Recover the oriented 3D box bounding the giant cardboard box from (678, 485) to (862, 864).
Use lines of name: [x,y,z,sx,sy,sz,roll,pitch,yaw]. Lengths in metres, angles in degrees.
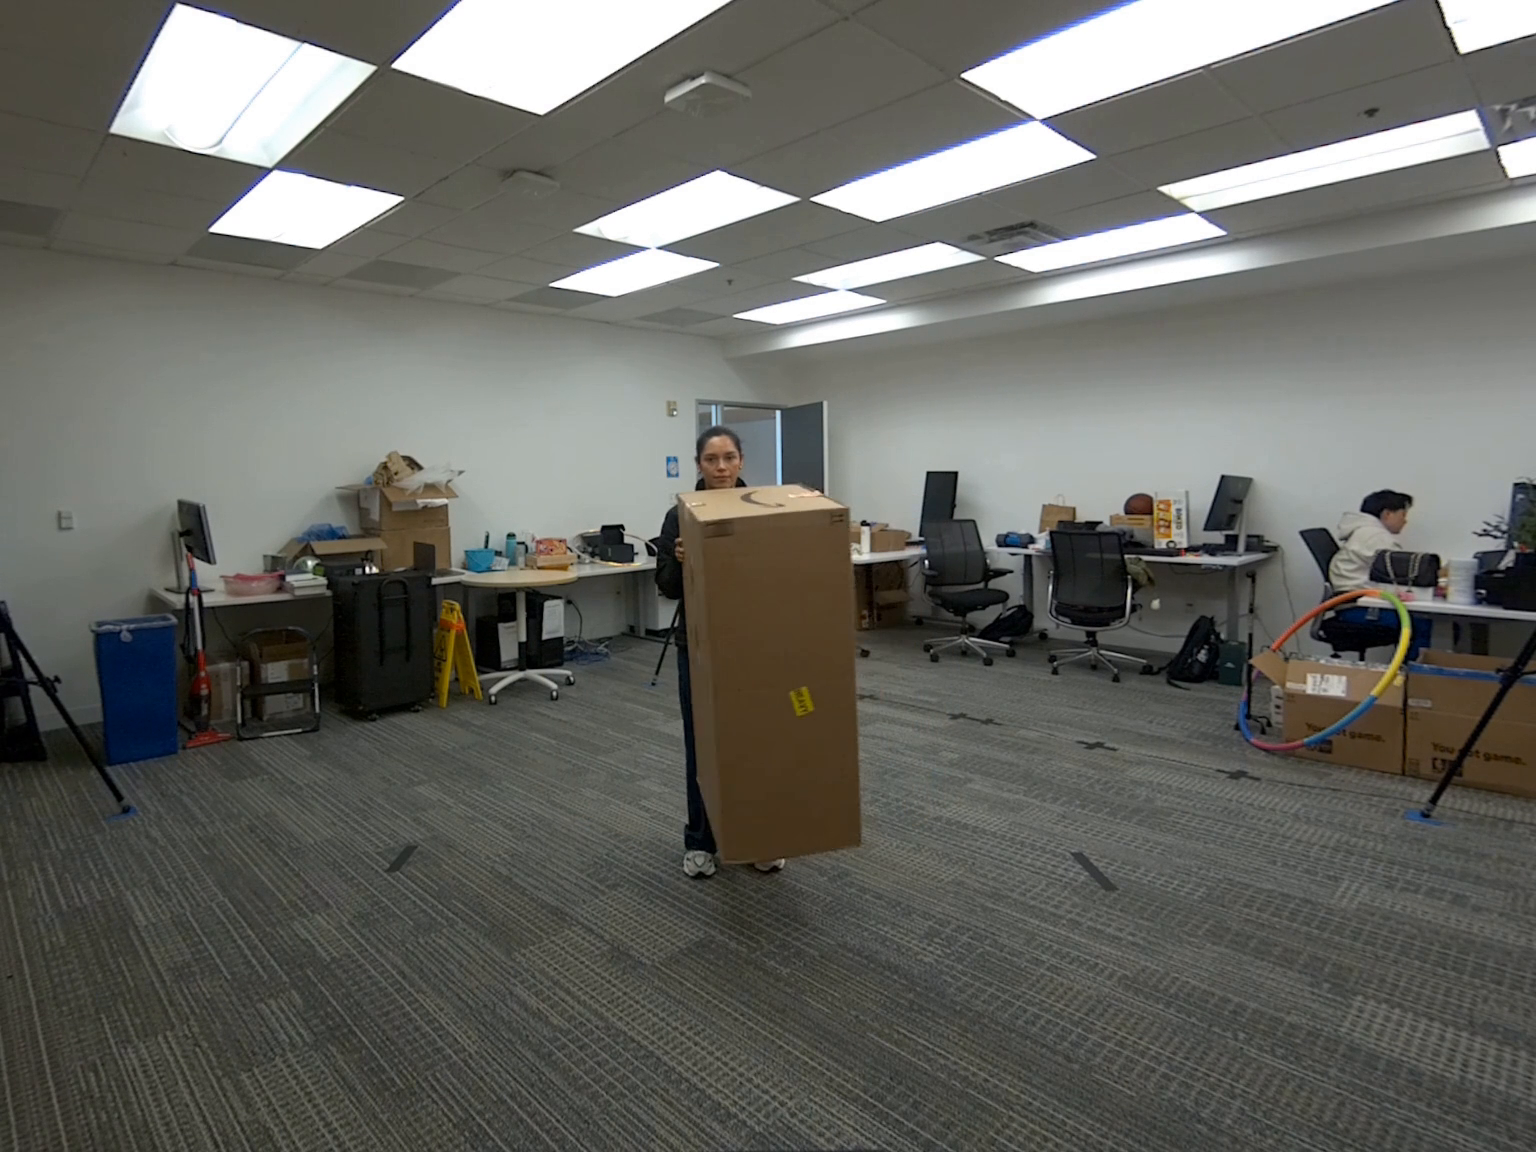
giant cardboard box: [-0.011,0.268,2.706,0.422,1.016,0.588,-5,11,-10]
